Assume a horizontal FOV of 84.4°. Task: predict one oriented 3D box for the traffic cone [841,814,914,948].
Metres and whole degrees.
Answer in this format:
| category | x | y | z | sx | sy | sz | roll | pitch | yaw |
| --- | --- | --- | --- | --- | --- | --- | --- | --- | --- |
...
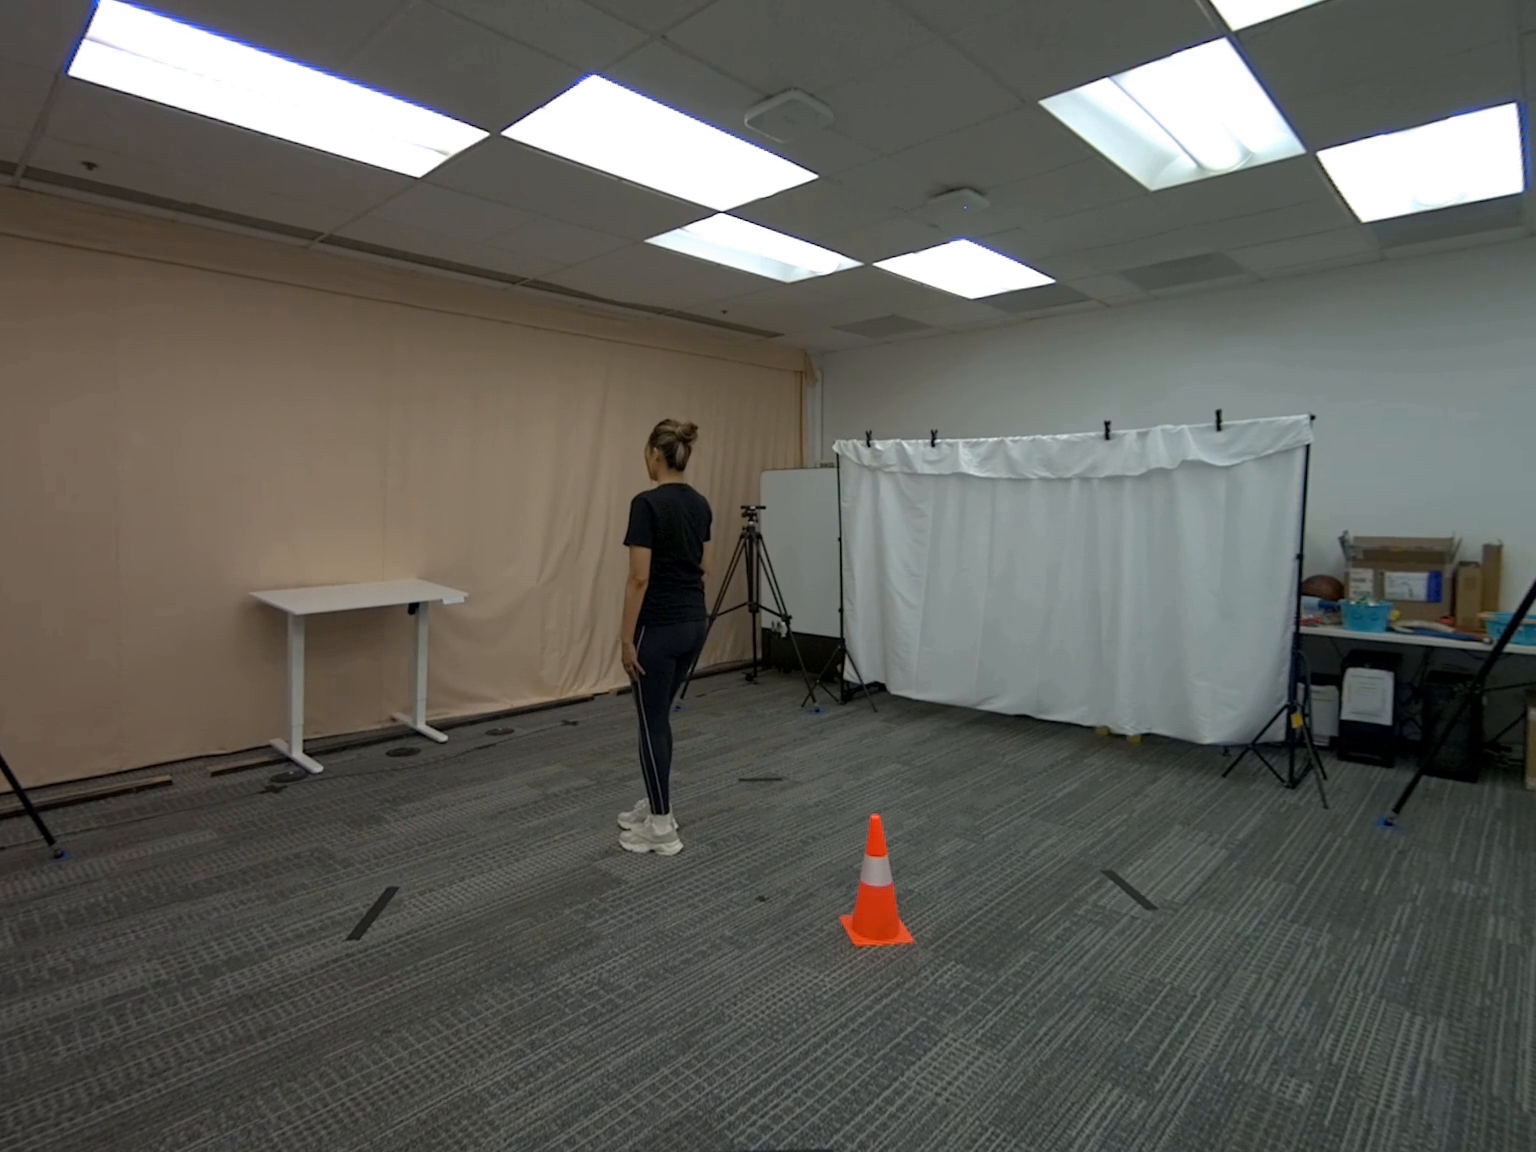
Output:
| category | x | y | z | sx | sy | sz | roll | pitch | yaw |
| --- | --- | --- | --- | --- | --- | --- | --- | --- | --- |
| traffic cone | 0.354 | 0.975 | 2.754 | 0.203 | 0.383 | 0.205 | -2 | 3 | -7 |
